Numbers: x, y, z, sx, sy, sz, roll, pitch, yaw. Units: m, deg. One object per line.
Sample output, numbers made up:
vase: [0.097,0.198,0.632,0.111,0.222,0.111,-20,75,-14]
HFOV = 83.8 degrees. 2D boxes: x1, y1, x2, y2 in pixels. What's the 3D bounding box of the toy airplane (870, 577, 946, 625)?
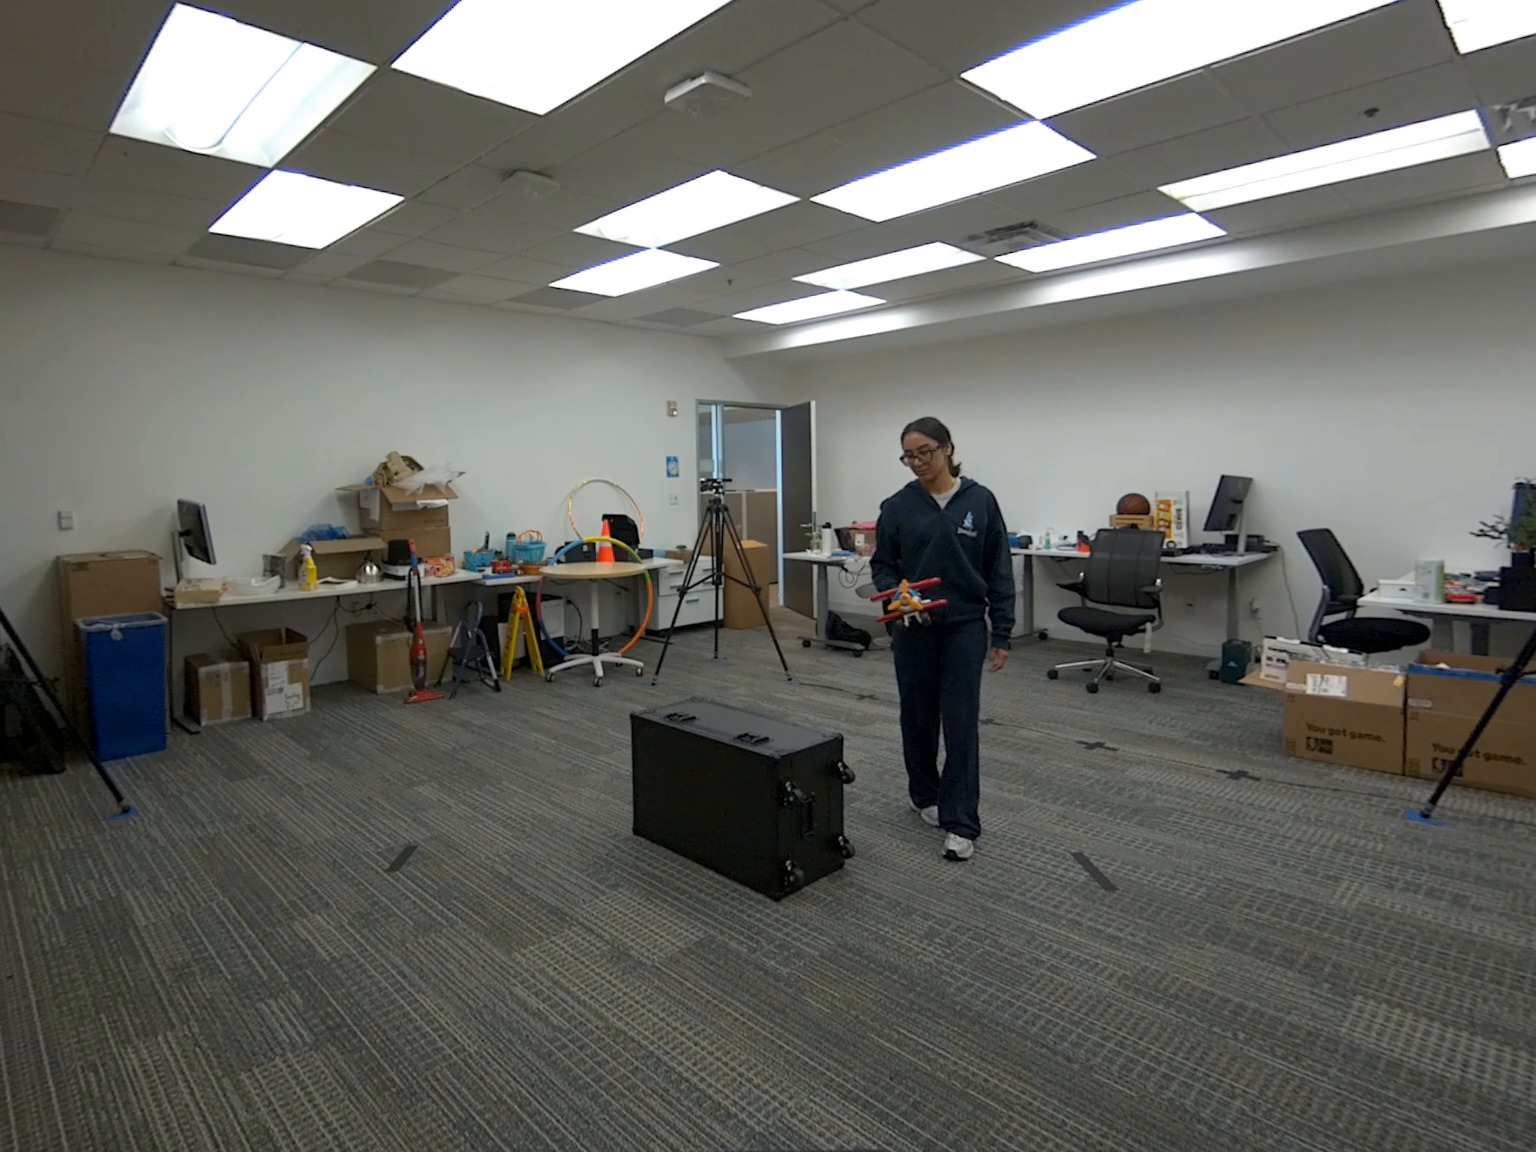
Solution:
toy airplane: [0.498,0.108,3.070,0.249,0.156,0.261,-19,2,-11]
